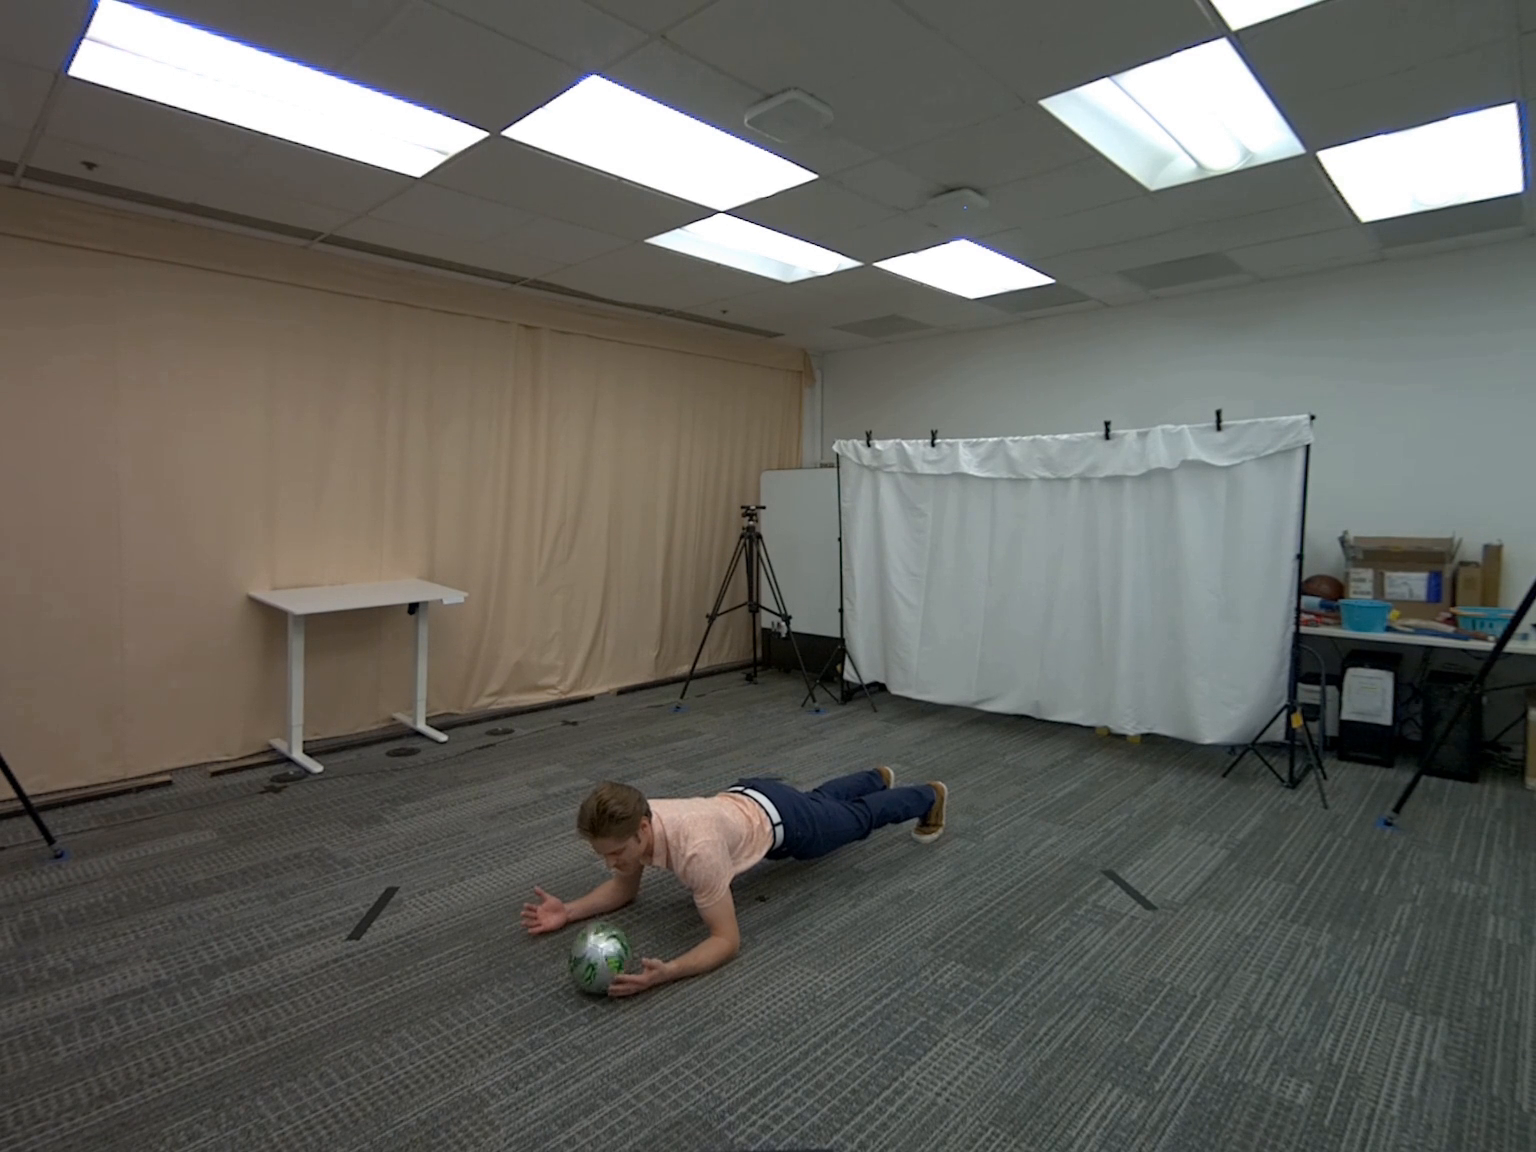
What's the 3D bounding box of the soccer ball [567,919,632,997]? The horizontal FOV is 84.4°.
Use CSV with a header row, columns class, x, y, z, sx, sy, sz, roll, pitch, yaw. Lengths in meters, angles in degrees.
class,x,y,z,sx,sy,sz,roll,pitch,yaw
soccer ball,-0.490,1.098,2.443,0.187,0.187,0.188,0,4,-2
